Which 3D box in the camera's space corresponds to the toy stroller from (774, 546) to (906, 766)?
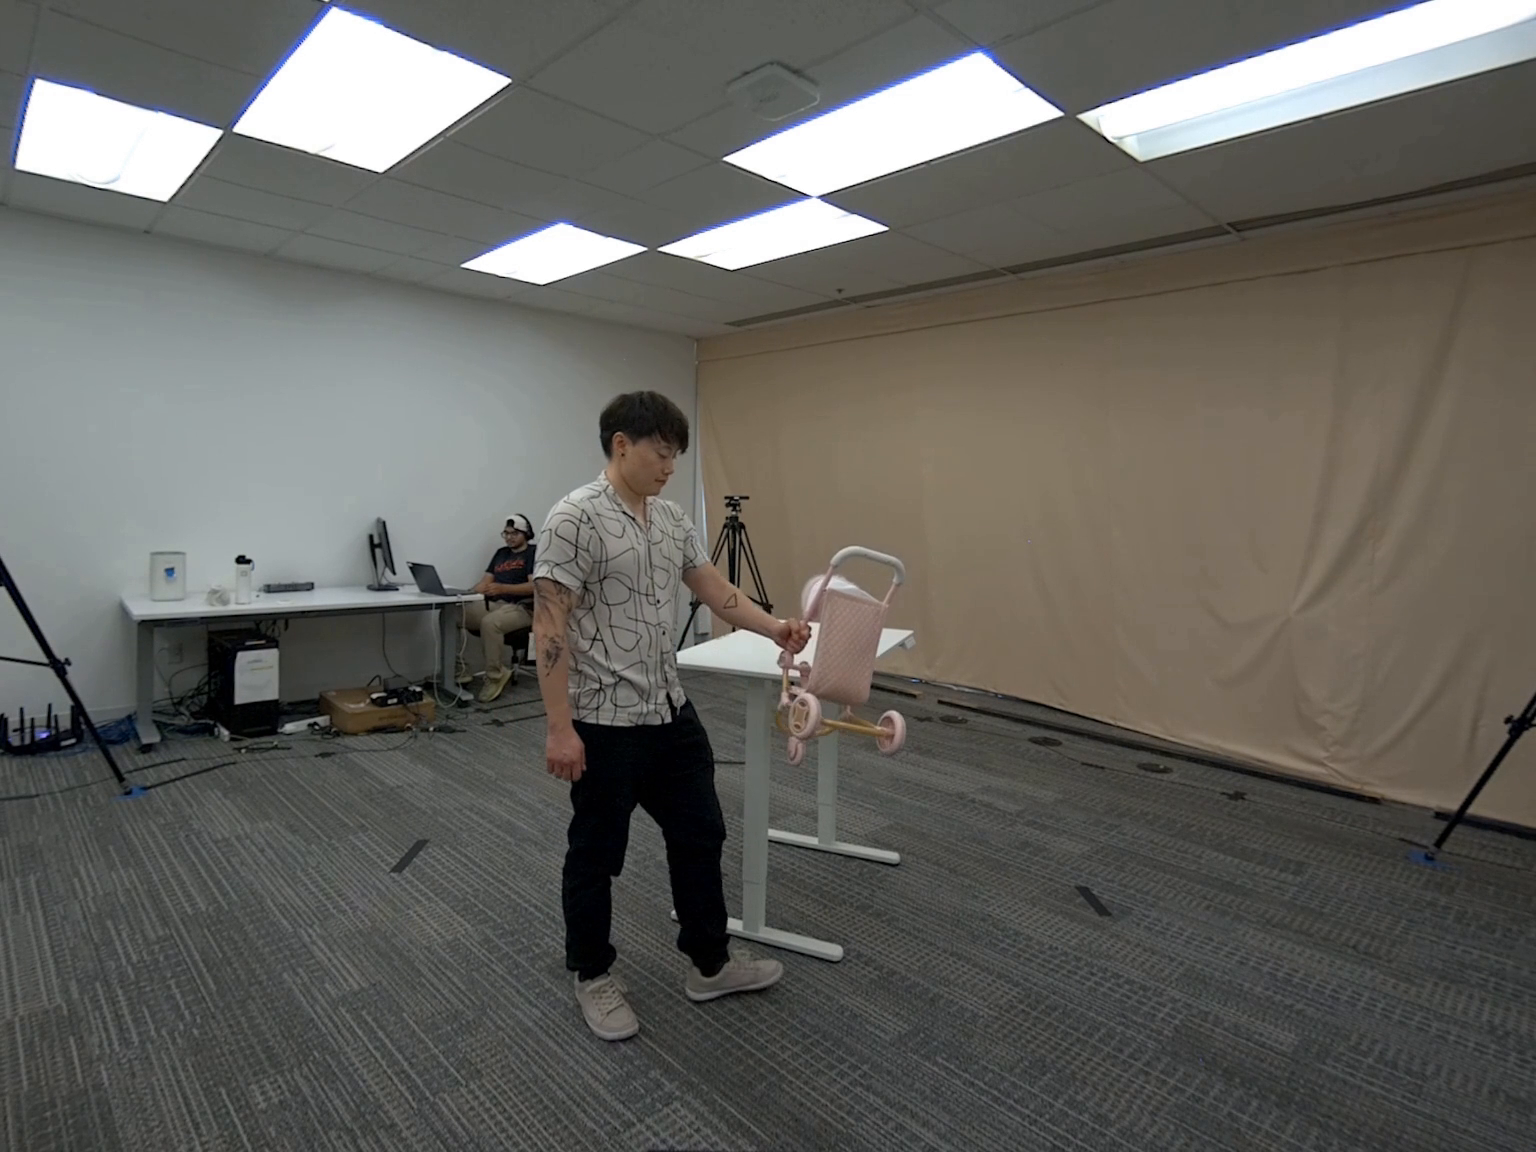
[{"bbox_3d":[0.160,0.227,2.148,0.276,0.540,0.344,13,-15,-20],"label":"toy stroller"}]
